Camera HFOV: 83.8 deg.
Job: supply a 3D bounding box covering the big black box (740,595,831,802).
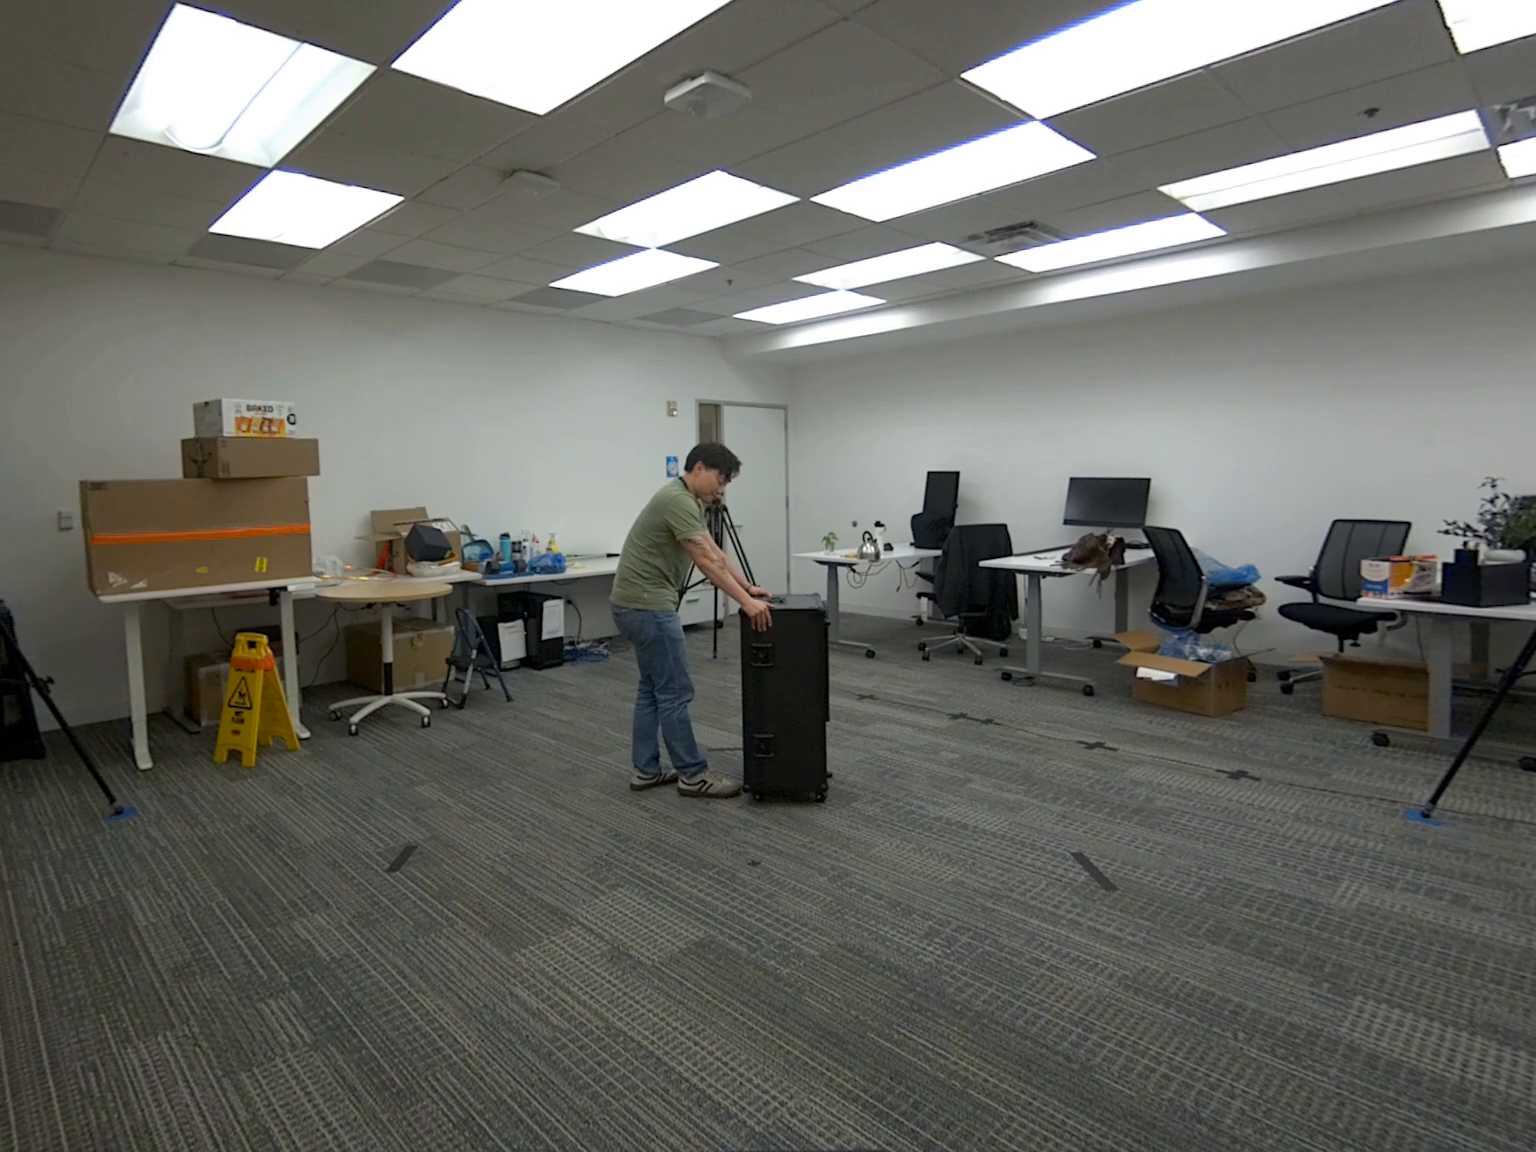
[{"bbox_3d":[0.085,0.541,3.829,0.397,0.859,0.521,0,3,1],"label":"big black box"}]
